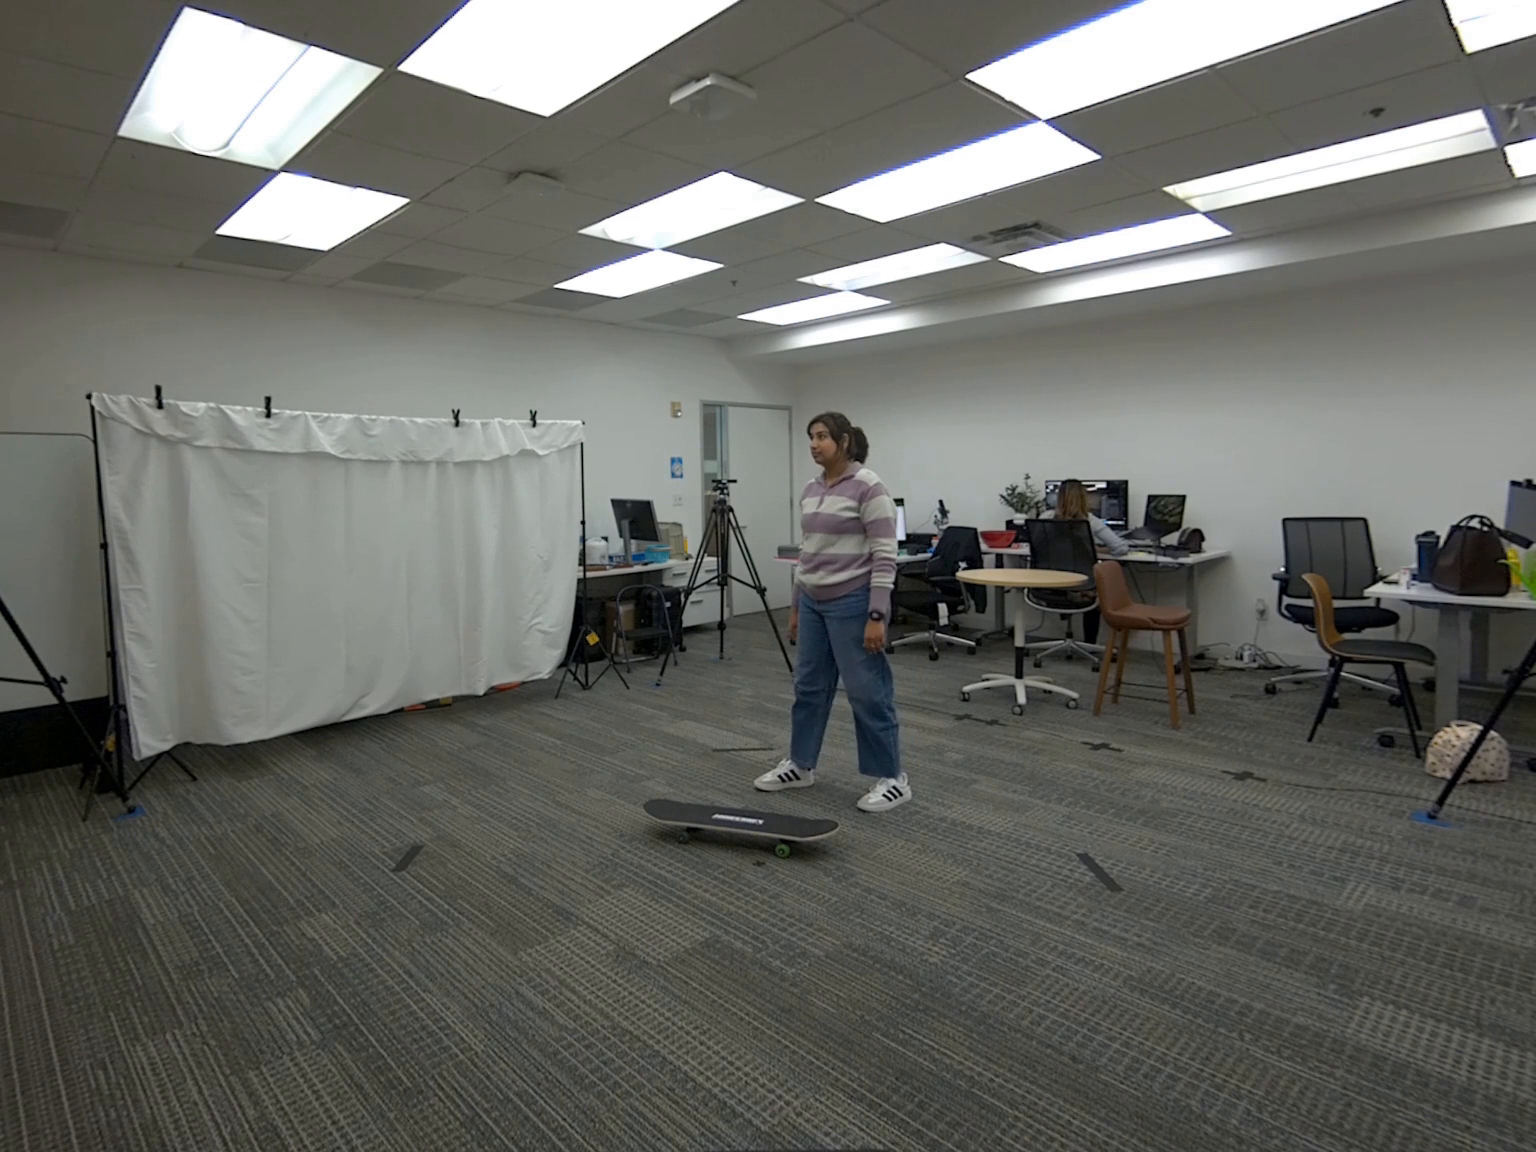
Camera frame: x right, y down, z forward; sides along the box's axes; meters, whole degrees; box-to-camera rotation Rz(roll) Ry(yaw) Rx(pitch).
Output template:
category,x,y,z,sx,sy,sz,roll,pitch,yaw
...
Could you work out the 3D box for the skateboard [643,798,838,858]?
category,x,y,z,sx,sy,sz,roll,pitch,yaw
skateboard,-0.112,0.970,3.298,0.800,0.110,0.191,1,6,19
